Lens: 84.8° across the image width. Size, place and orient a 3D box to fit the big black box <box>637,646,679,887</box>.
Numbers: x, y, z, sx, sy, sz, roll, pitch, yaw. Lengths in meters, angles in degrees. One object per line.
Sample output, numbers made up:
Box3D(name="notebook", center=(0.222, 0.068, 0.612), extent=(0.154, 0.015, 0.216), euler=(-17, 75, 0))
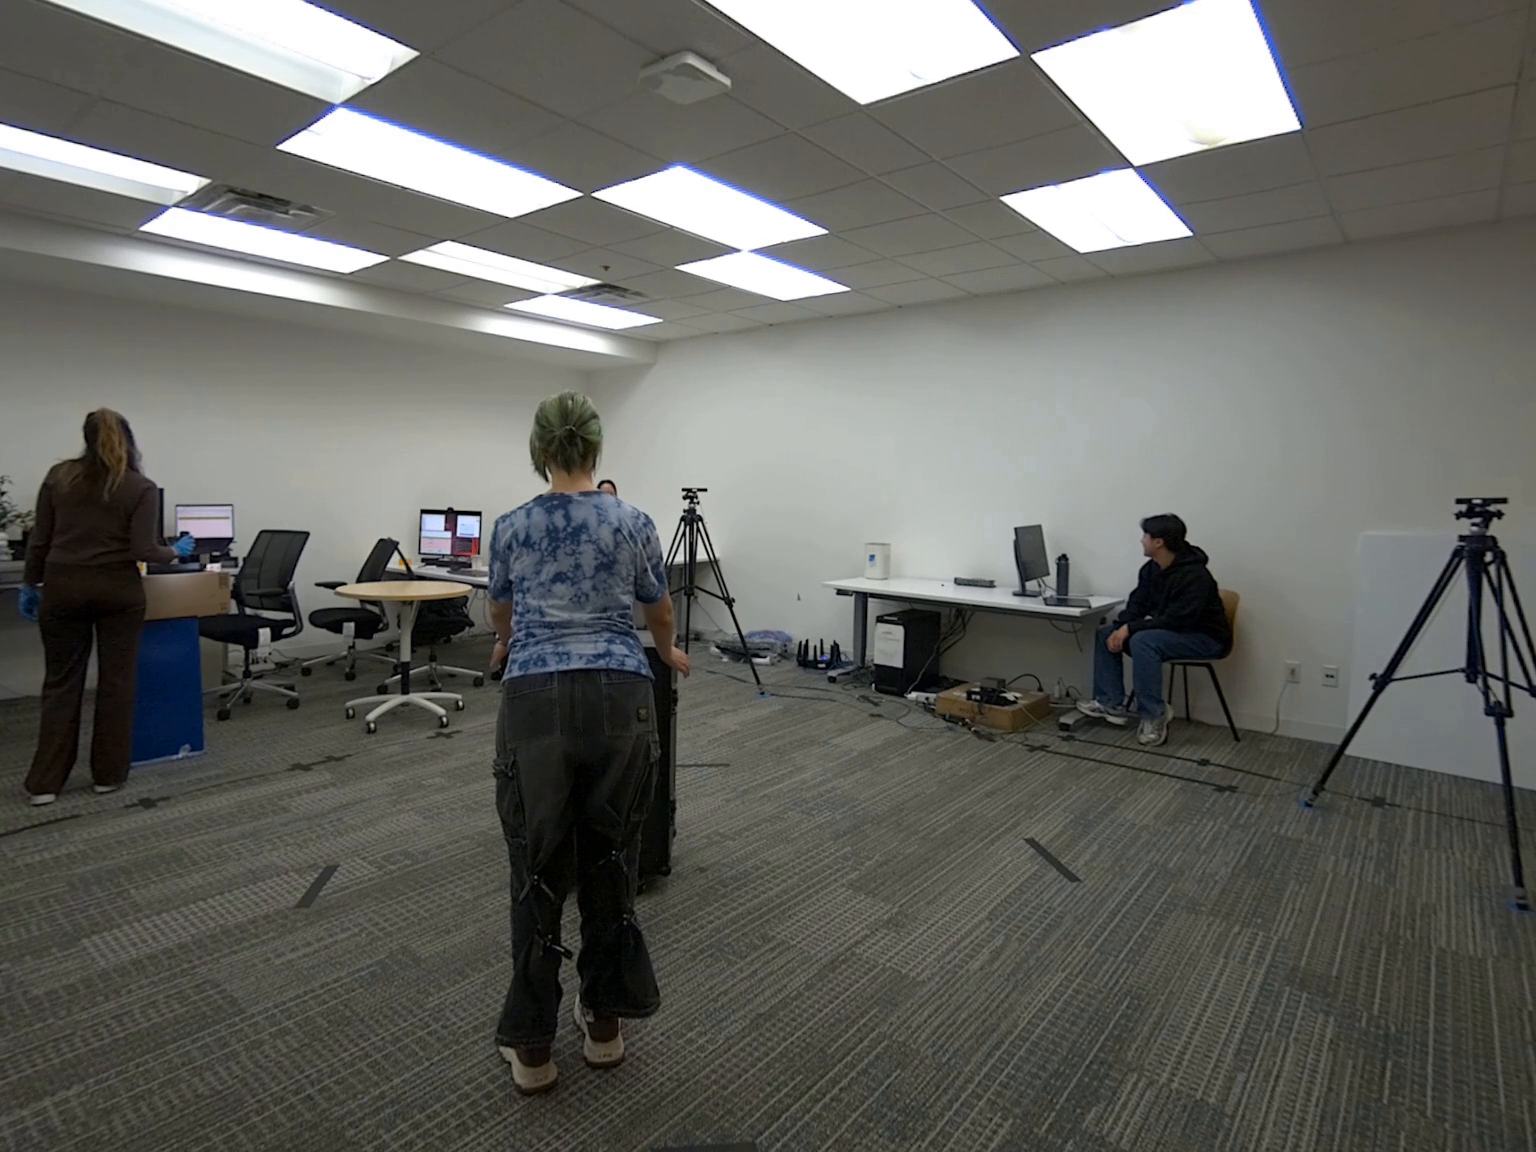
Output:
Box3D(name="big black box", center=(-0.596, 0.645, 3.065), extent=(0.522, 0.861, 0.396), euler=(1, 1, 0))
